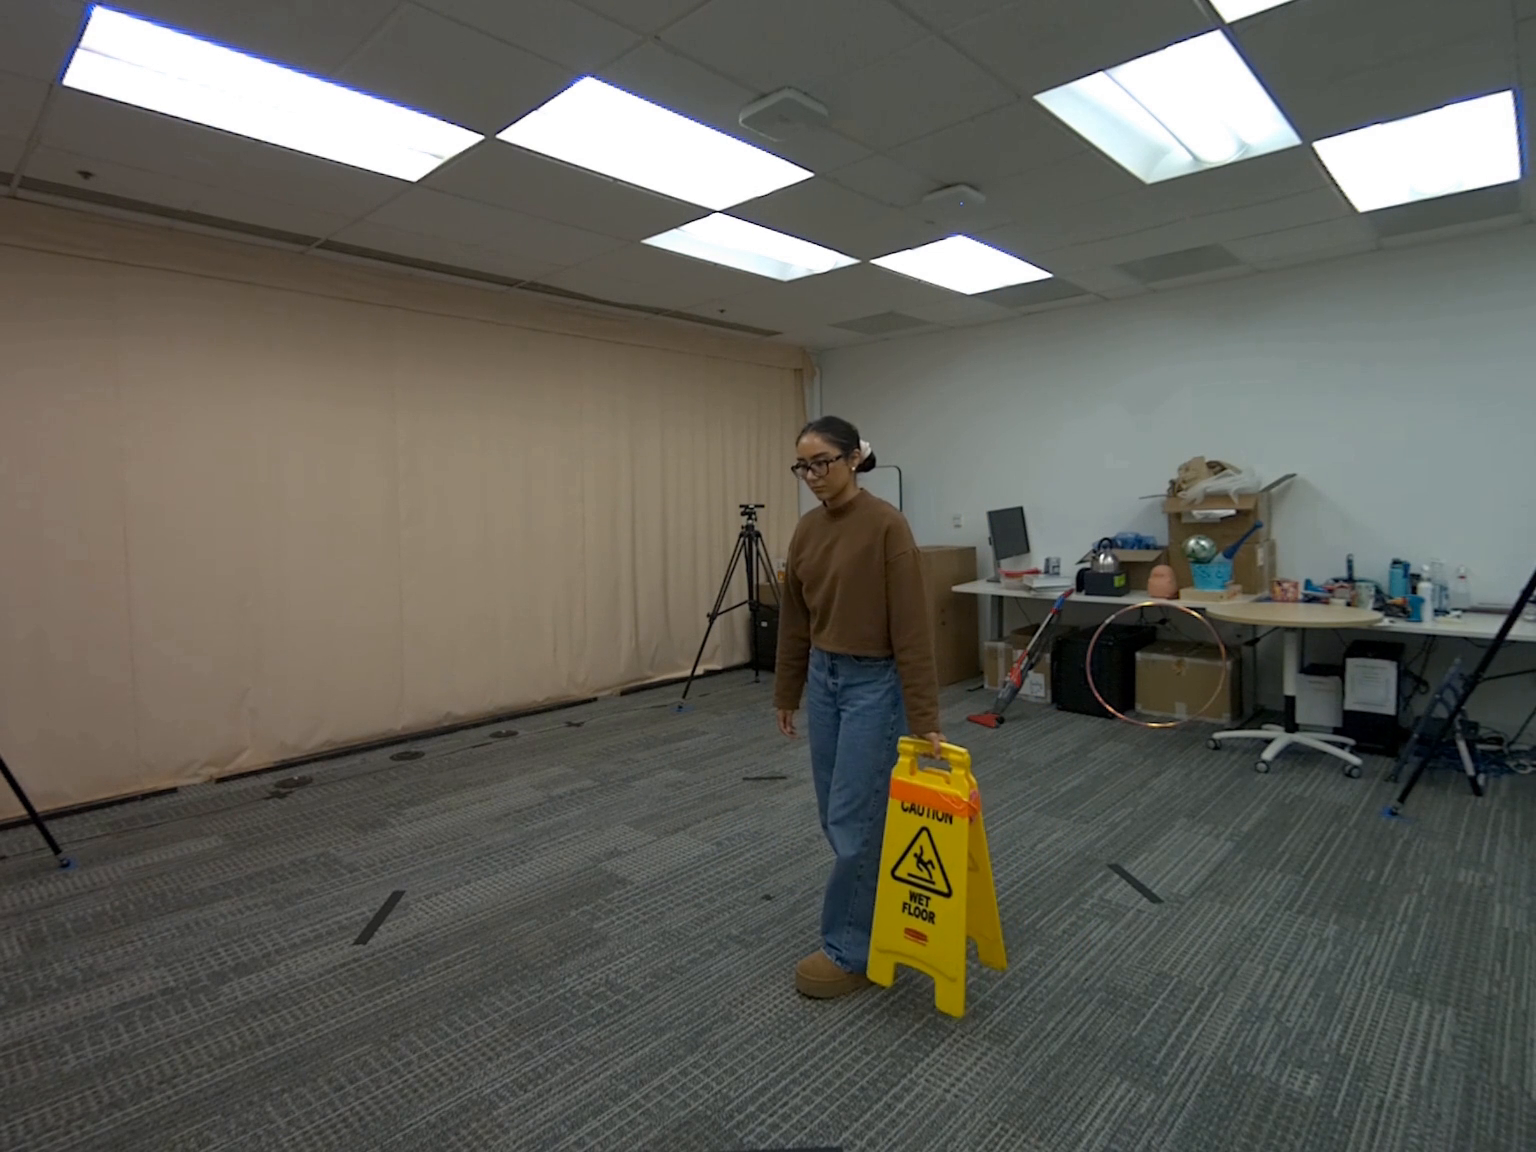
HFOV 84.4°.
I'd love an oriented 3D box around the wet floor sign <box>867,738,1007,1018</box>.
[{"bbox_3d":[0.460,0.765,2.256,0.291,0.644,0.281,2,6,40],"label":"wet floor sign"}]
